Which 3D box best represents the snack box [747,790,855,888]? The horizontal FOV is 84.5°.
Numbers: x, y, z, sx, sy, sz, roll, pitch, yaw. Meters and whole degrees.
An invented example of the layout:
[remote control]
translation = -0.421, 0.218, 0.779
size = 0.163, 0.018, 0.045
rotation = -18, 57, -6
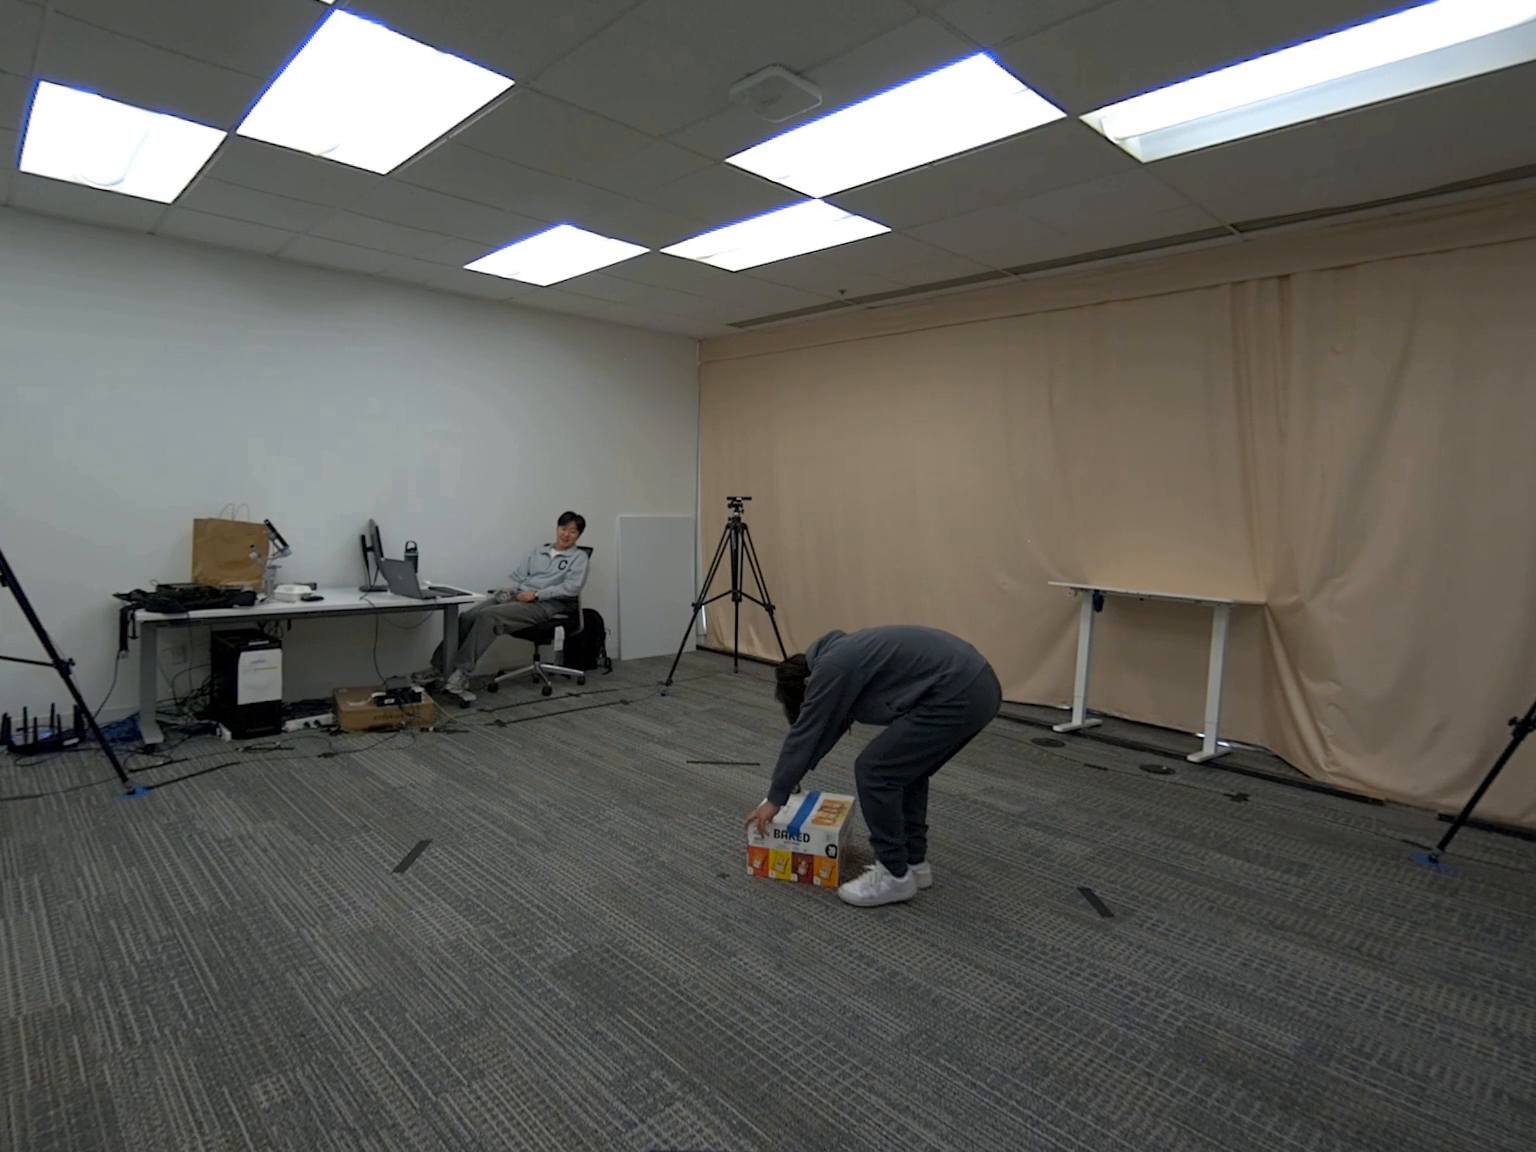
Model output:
[snack box]
translation = 0.126, 1.000, 3.257
size = 0.345, 0.205, 0.401
rotation = 3, 5, 16
